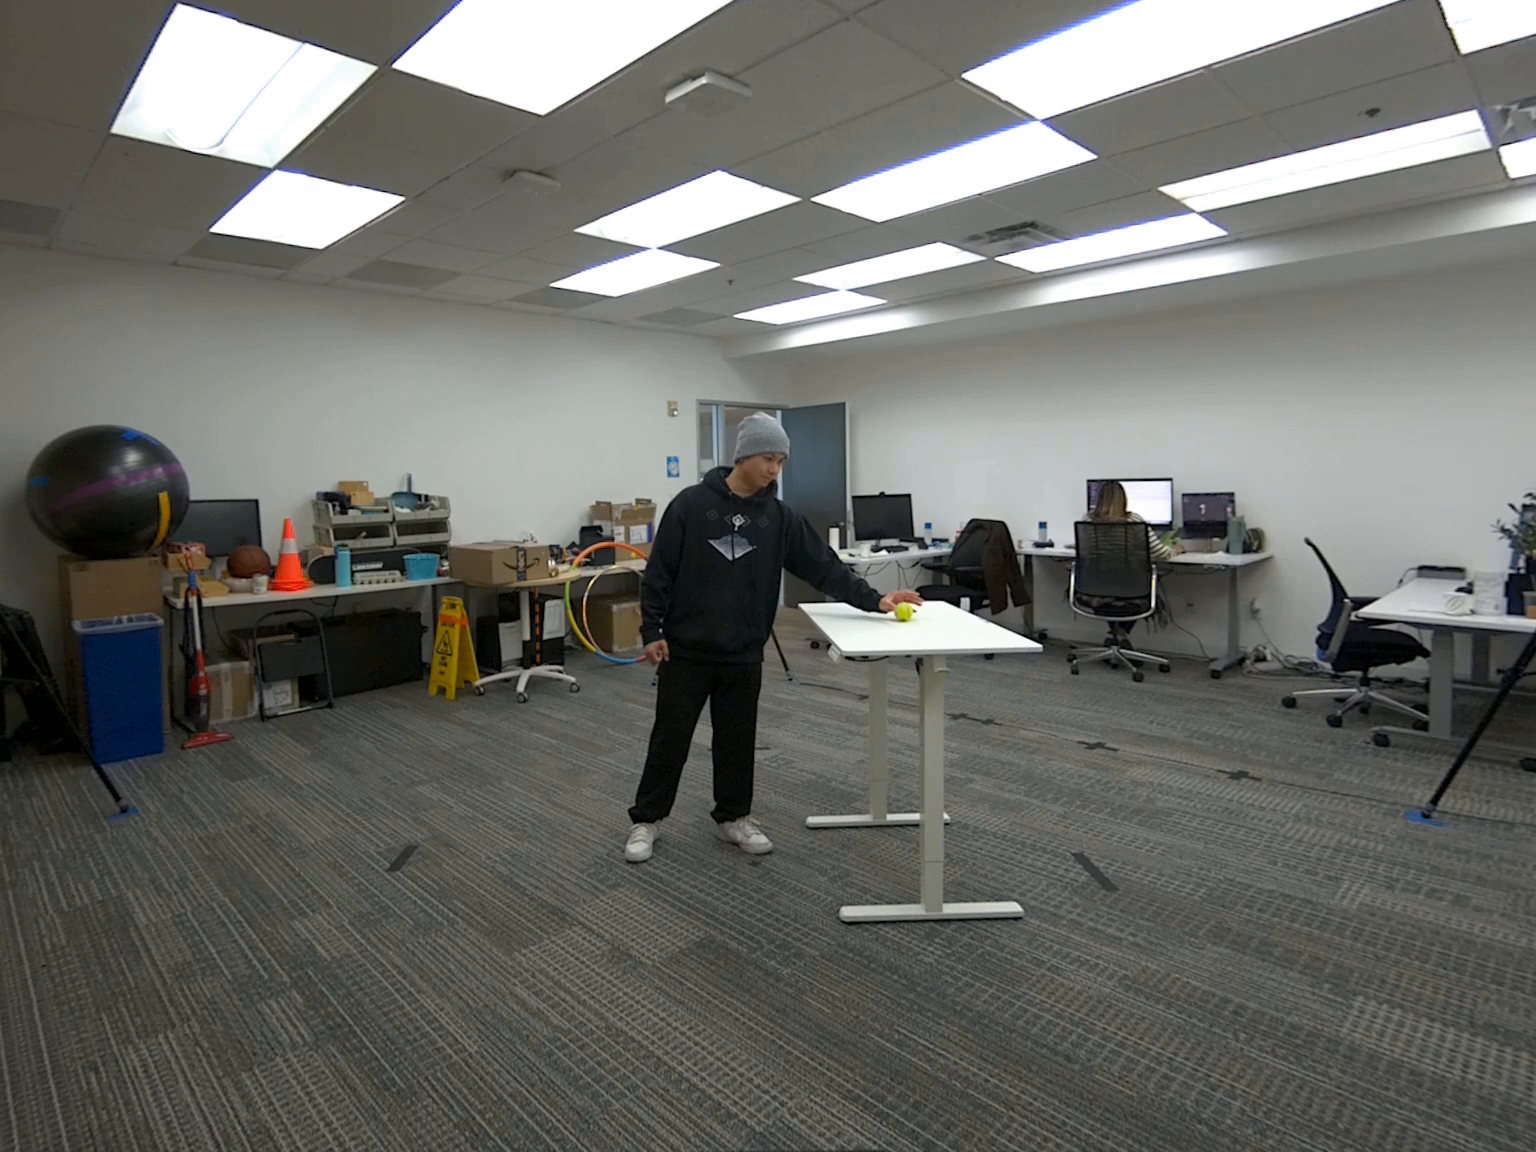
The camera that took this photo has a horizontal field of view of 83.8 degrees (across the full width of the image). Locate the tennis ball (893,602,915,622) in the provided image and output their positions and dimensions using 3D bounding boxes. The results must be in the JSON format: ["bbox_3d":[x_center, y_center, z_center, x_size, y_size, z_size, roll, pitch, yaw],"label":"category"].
[{"bbox_3d":[0.463,0.116,3.065,0.066,0.066,0.067,-1,5,-2],"label":"tennis ball"}]
